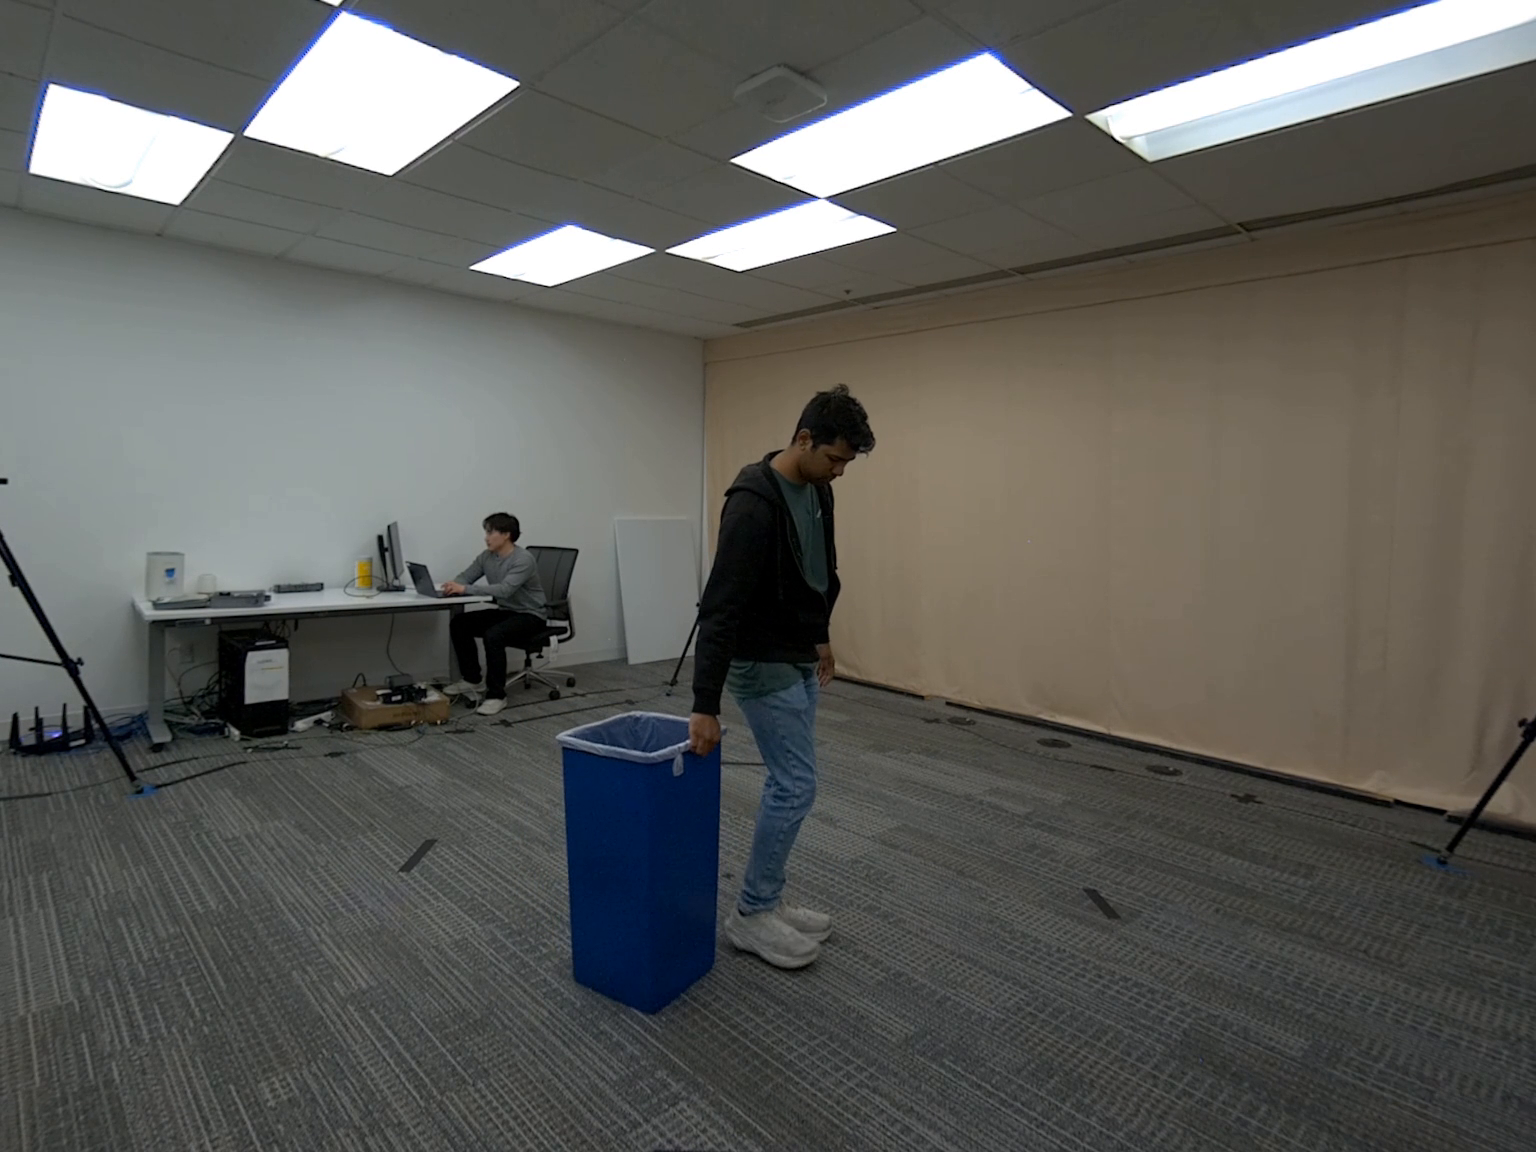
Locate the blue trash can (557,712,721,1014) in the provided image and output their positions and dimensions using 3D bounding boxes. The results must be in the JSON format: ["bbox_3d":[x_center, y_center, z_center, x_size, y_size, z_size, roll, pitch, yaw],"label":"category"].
[{"bbox_3d":[-0.364,0.803,2.446,0.386,0.712,0.366,2,4,33],"label":"blue trash can"}]
